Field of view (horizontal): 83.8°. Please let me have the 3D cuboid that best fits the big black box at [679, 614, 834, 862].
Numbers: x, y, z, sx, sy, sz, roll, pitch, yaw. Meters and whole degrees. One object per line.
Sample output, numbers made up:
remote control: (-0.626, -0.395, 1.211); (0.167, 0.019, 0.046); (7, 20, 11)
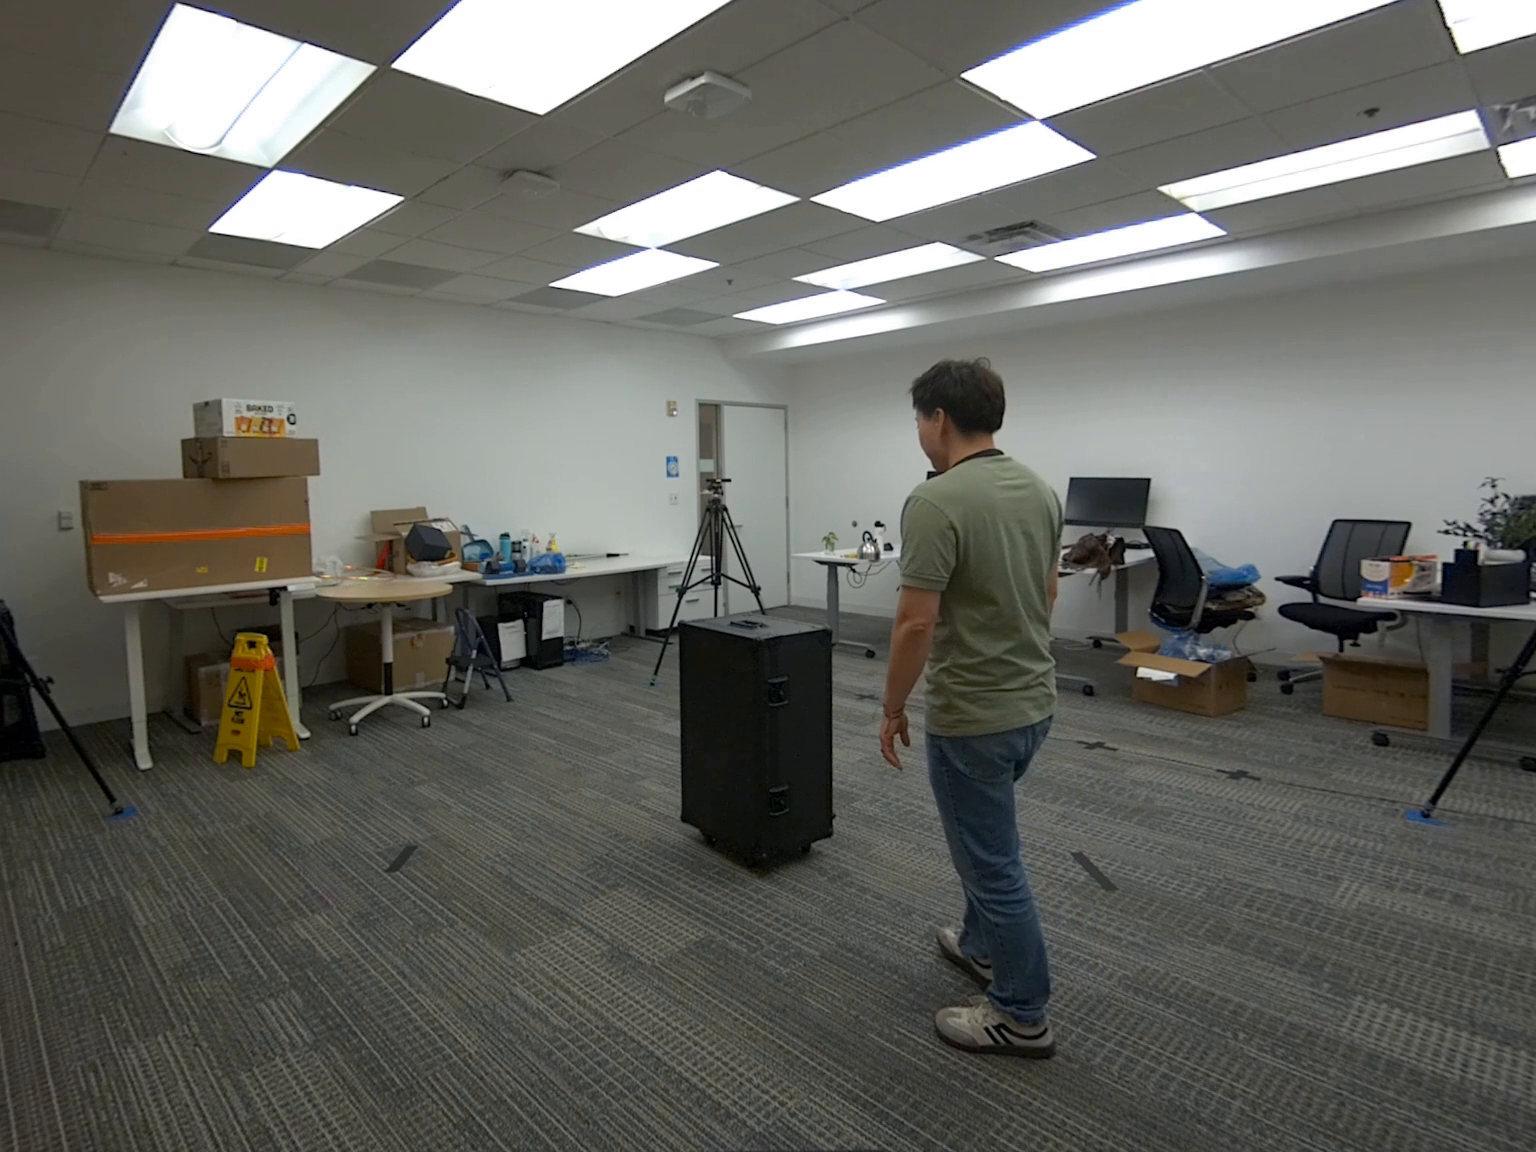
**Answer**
big black box: (-0.044, 0.603, 3.235); (0.385, 0.859, 0.537); (-3, 5, -40)
